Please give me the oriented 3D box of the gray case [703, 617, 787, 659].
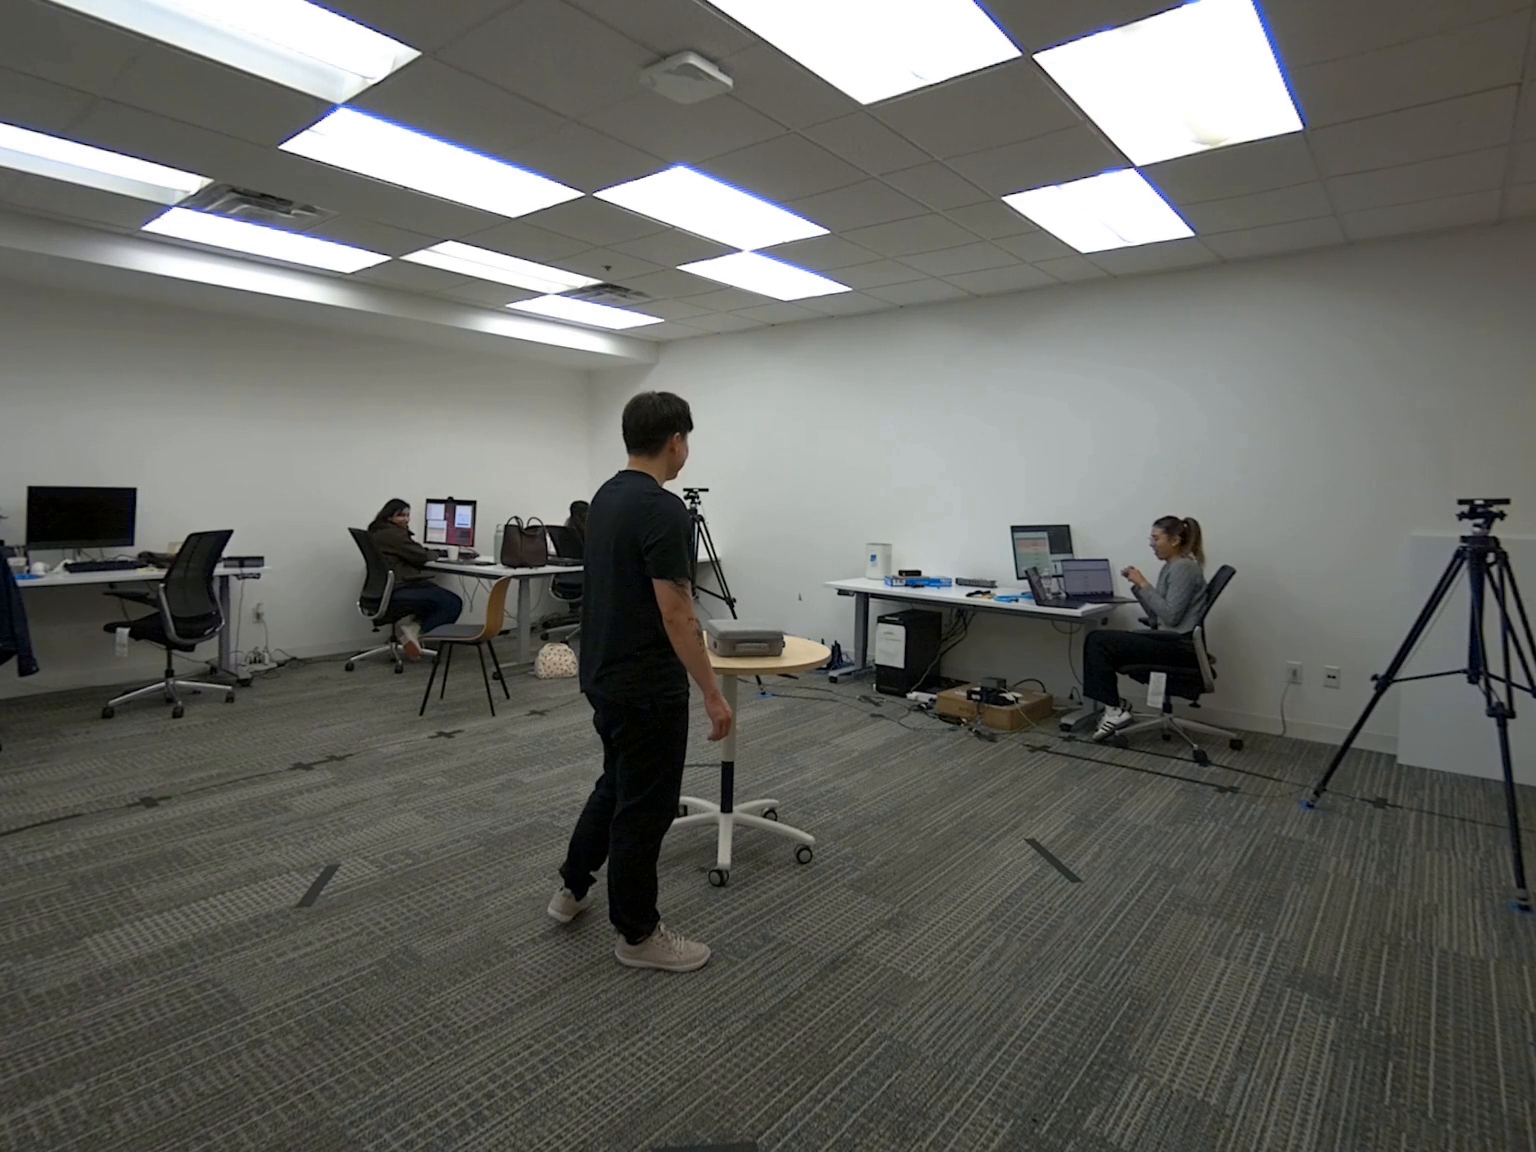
[{"bbox_3d":[-0.095,0.231,3.182,0.253,0.104,0.265,1,6,-14],"label":"gray case"}]
